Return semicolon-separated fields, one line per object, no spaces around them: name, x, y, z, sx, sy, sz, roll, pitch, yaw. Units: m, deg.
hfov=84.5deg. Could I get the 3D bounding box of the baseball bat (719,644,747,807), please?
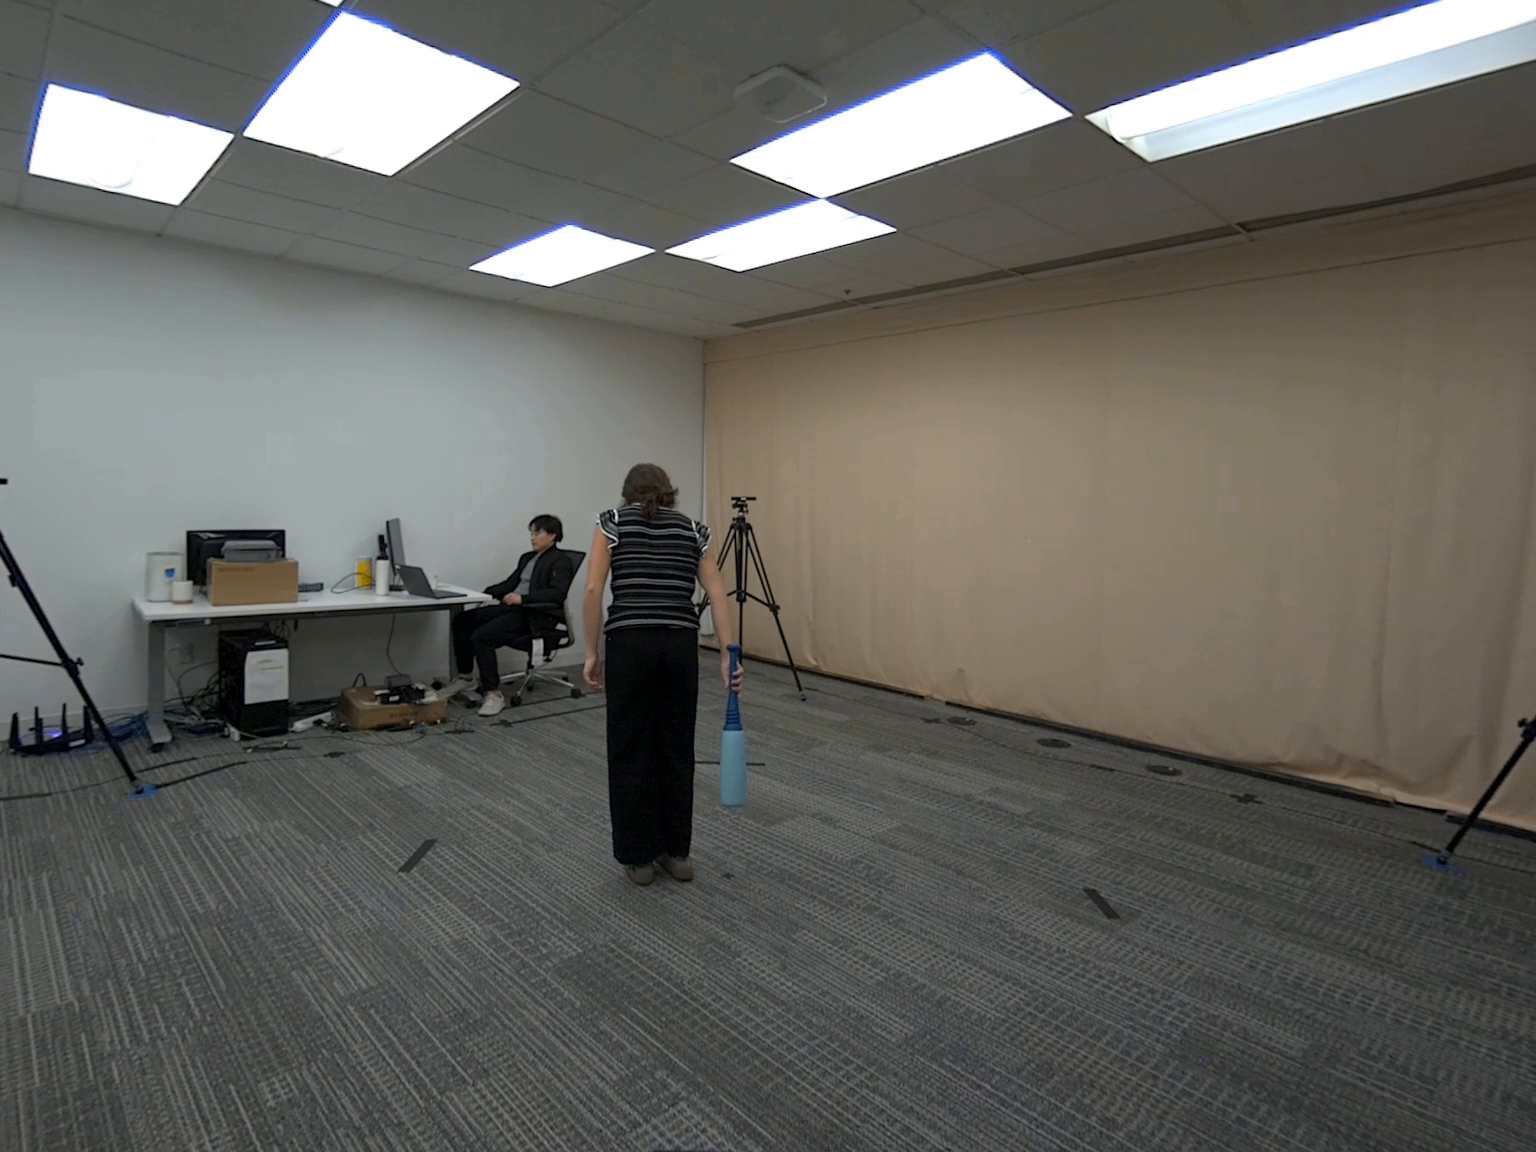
baseball bat;-0.140;0.514;2.878;0.089;0.546;0.088;-1;-8;-1
